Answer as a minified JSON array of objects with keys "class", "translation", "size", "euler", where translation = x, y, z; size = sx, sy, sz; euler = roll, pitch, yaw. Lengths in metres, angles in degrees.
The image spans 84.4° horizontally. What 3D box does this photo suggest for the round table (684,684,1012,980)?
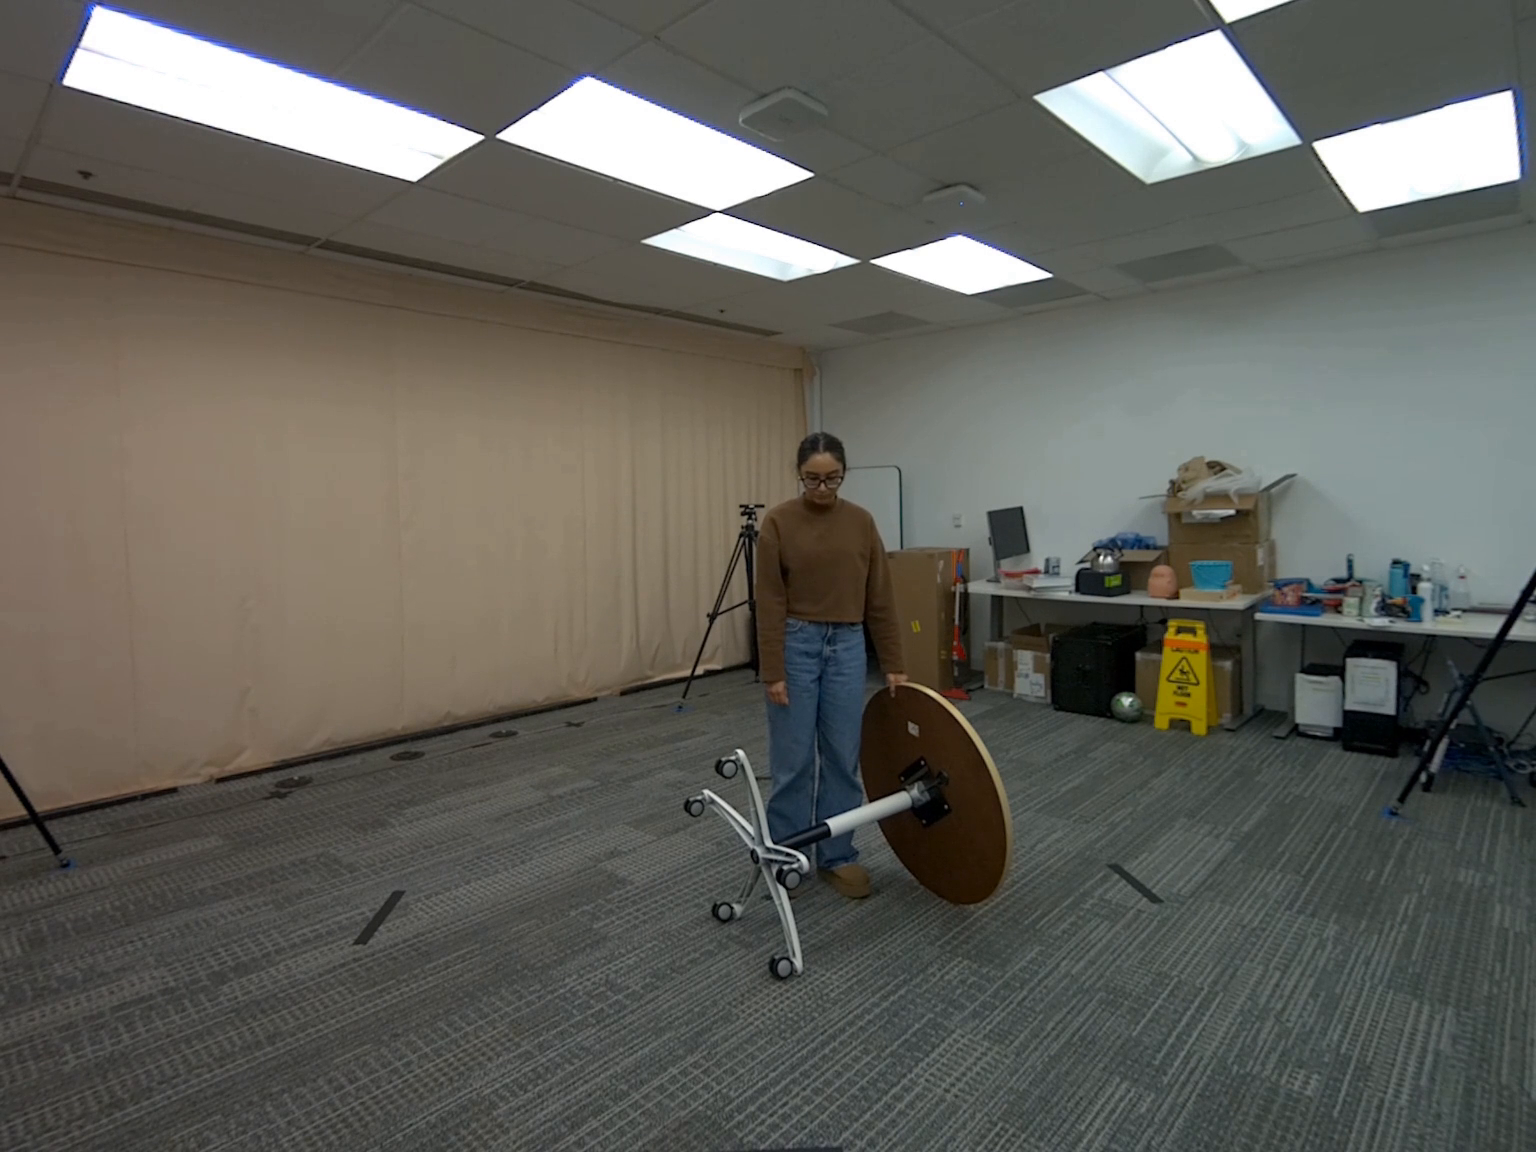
[{"class":"round table","translation":[0.234,0.821,2.774],"size":[0.776,0.760,0.785],"euler":[-11,8,-27]}]
